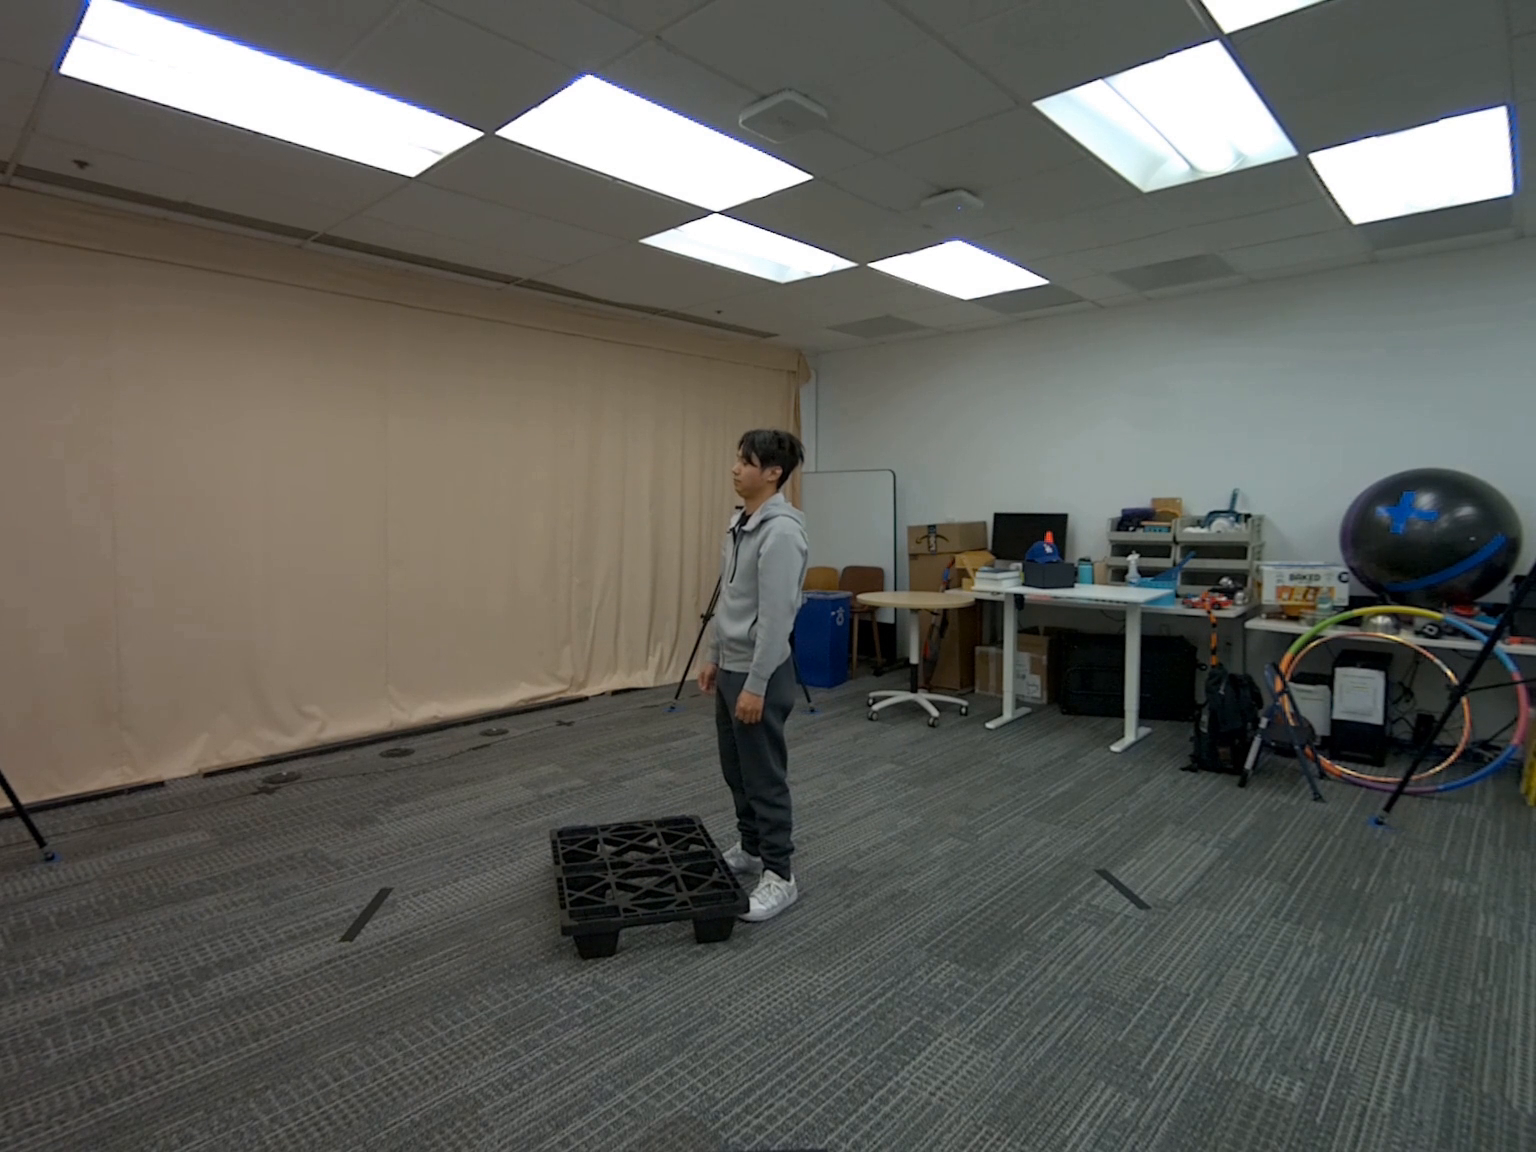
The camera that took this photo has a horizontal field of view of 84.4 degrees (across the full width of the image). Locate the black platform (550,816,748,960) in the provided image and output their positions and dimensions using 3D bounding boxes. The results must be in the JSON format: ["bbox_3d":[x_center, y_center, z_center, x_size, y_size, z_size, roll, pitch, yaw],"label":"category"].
[{"bbox_3d":[-0.457,1.078,2.989,0.596,0.143,0.820,-2,5,-15],"label":"black platform"}]
